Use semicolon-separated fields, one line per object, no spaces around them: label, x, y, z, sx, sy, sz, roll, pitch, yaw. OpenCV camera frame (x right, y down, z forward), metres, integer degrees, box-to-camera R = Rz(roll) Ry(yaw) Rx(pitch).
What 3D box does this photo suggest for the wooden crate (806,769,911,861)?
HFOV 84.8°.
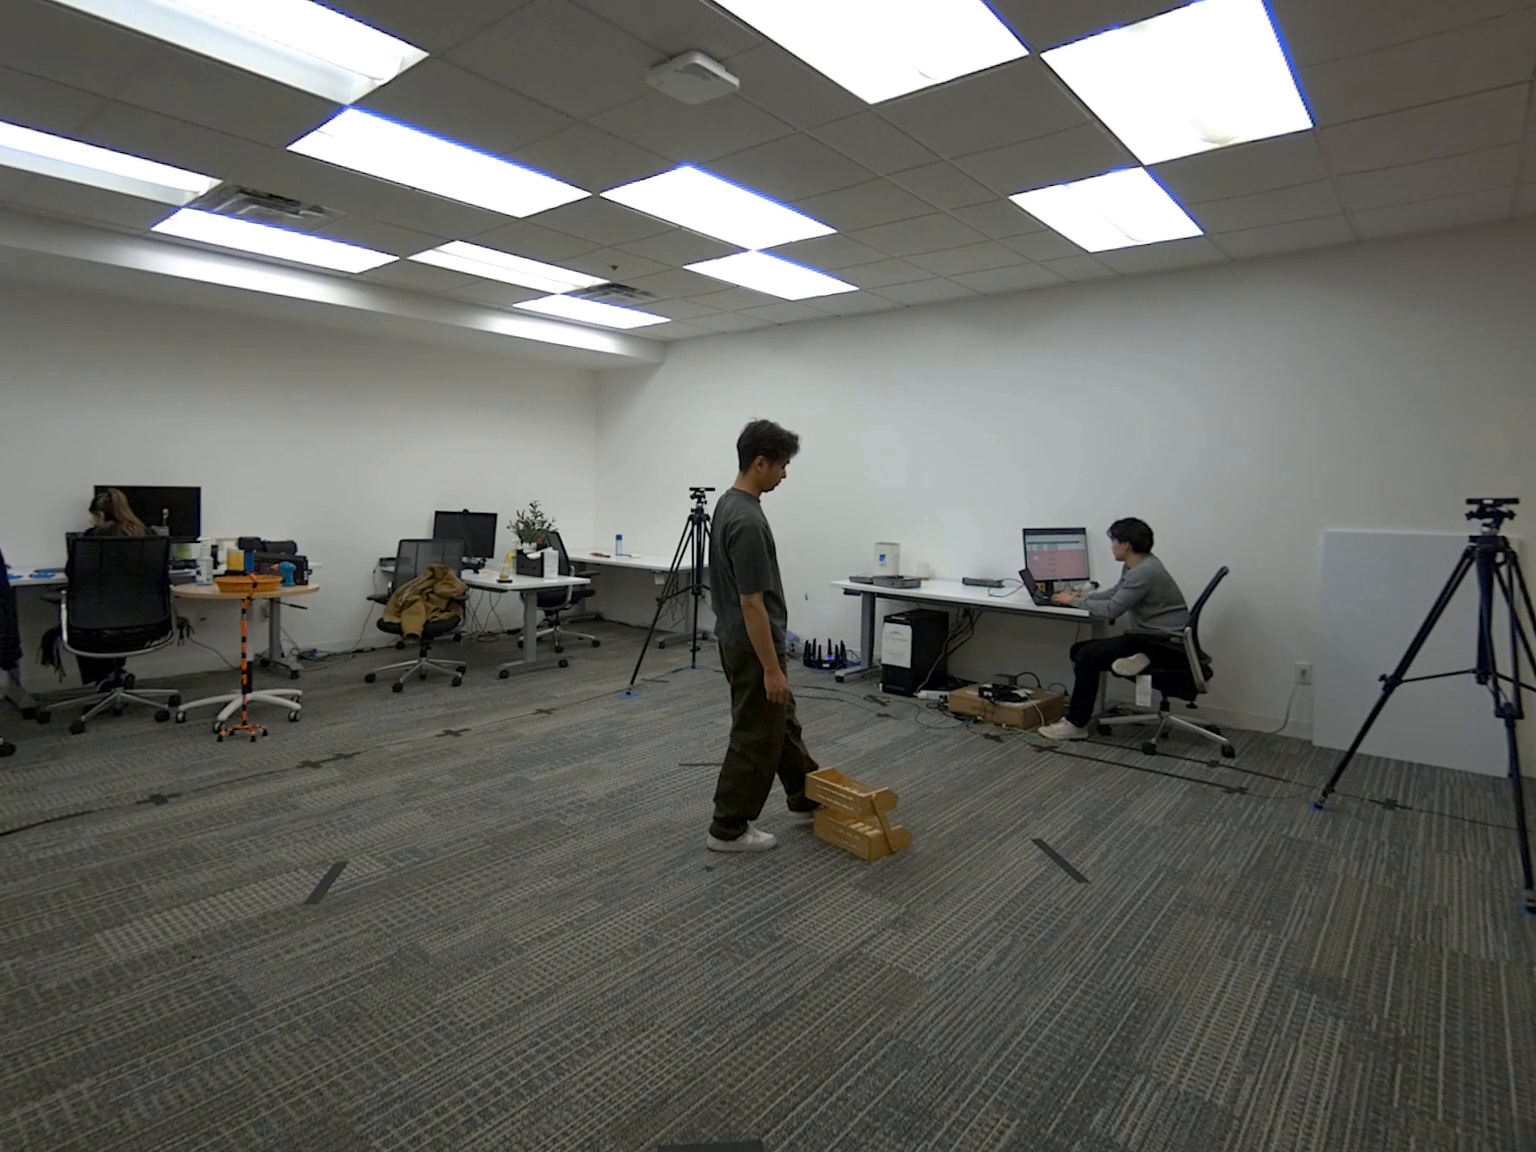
wooden crate;0.350;0.919;3.375;0.293;0.272;0.335;-3;6;-40
